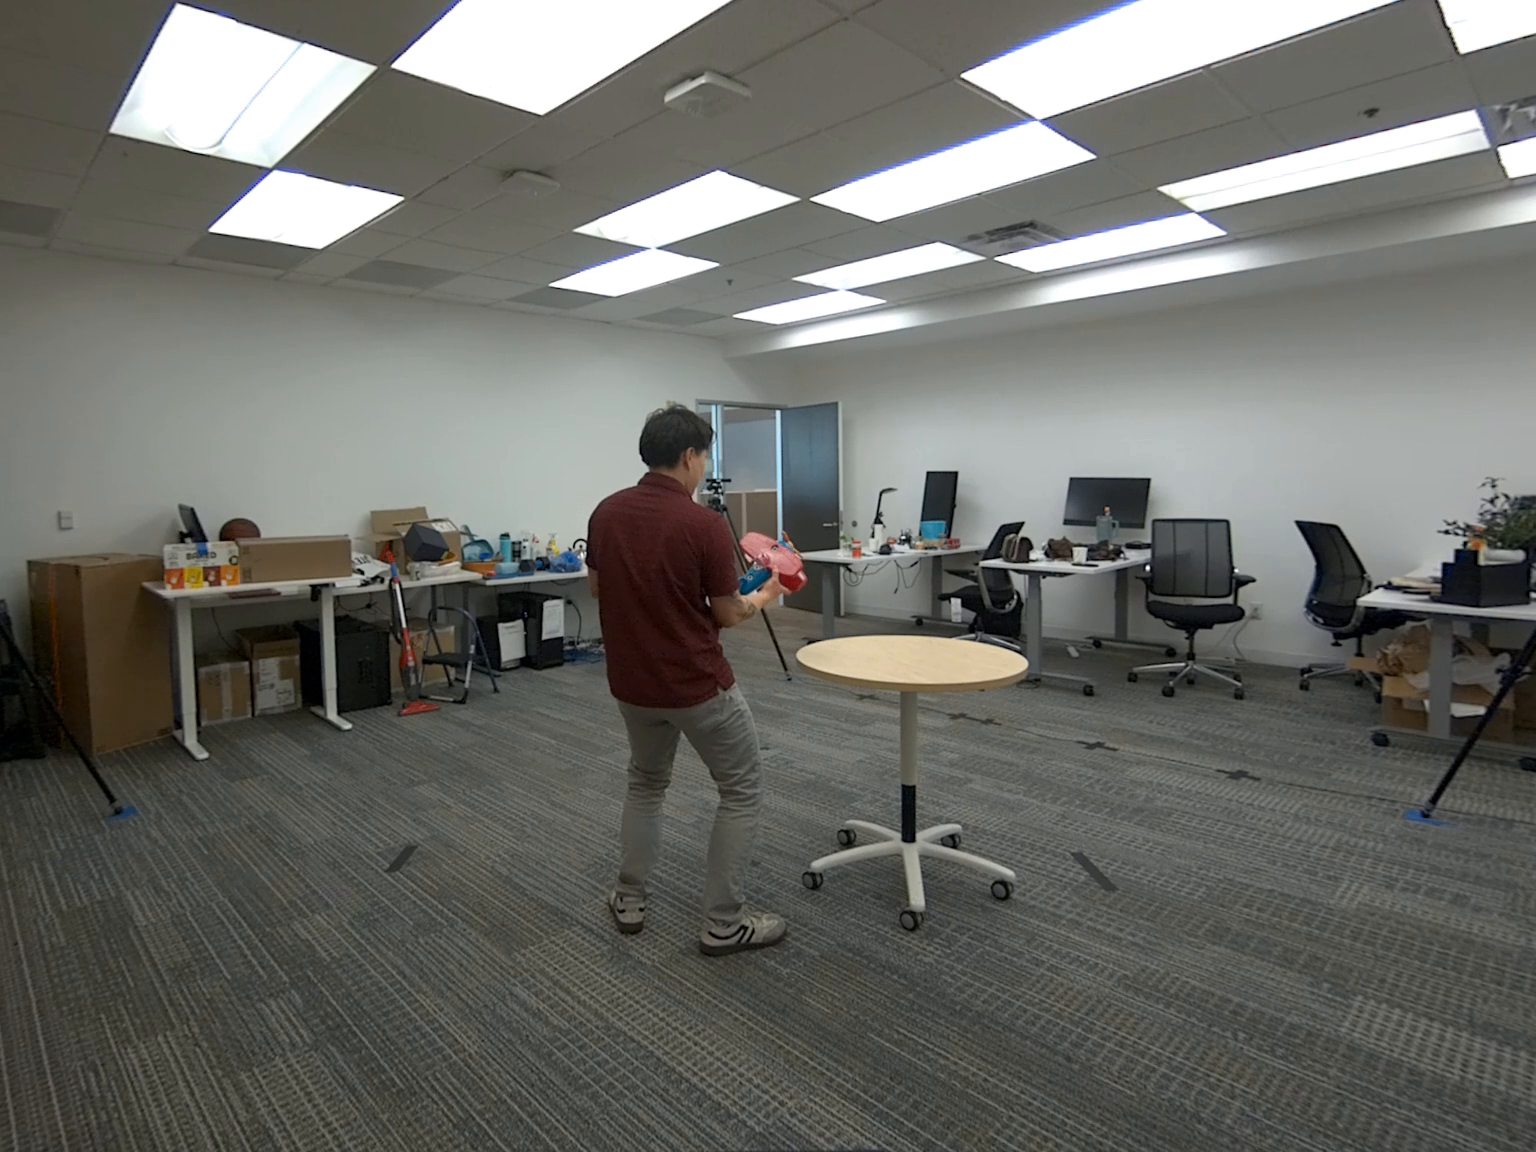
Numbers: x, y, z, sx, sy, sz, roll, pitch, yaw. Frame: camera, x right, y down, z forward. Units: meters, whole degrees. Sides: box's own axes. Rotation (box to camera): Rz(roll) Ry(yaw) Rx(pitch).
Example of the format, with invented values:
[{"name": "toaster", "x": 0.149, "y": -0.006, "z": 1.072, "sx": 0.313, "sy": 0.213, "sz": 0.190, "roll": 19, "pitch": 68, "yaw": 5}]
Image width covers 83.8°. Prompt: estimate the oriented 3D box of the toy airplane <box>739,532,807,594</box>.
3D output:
[{"name": "toy airplane", "x": 0.012, "y": -0.011, "z": 2.866, "sx": 0.255, "sy": 0.152, "sz": 0.262, "roll": 10, "pitch": 44, "yaw": 14}]
